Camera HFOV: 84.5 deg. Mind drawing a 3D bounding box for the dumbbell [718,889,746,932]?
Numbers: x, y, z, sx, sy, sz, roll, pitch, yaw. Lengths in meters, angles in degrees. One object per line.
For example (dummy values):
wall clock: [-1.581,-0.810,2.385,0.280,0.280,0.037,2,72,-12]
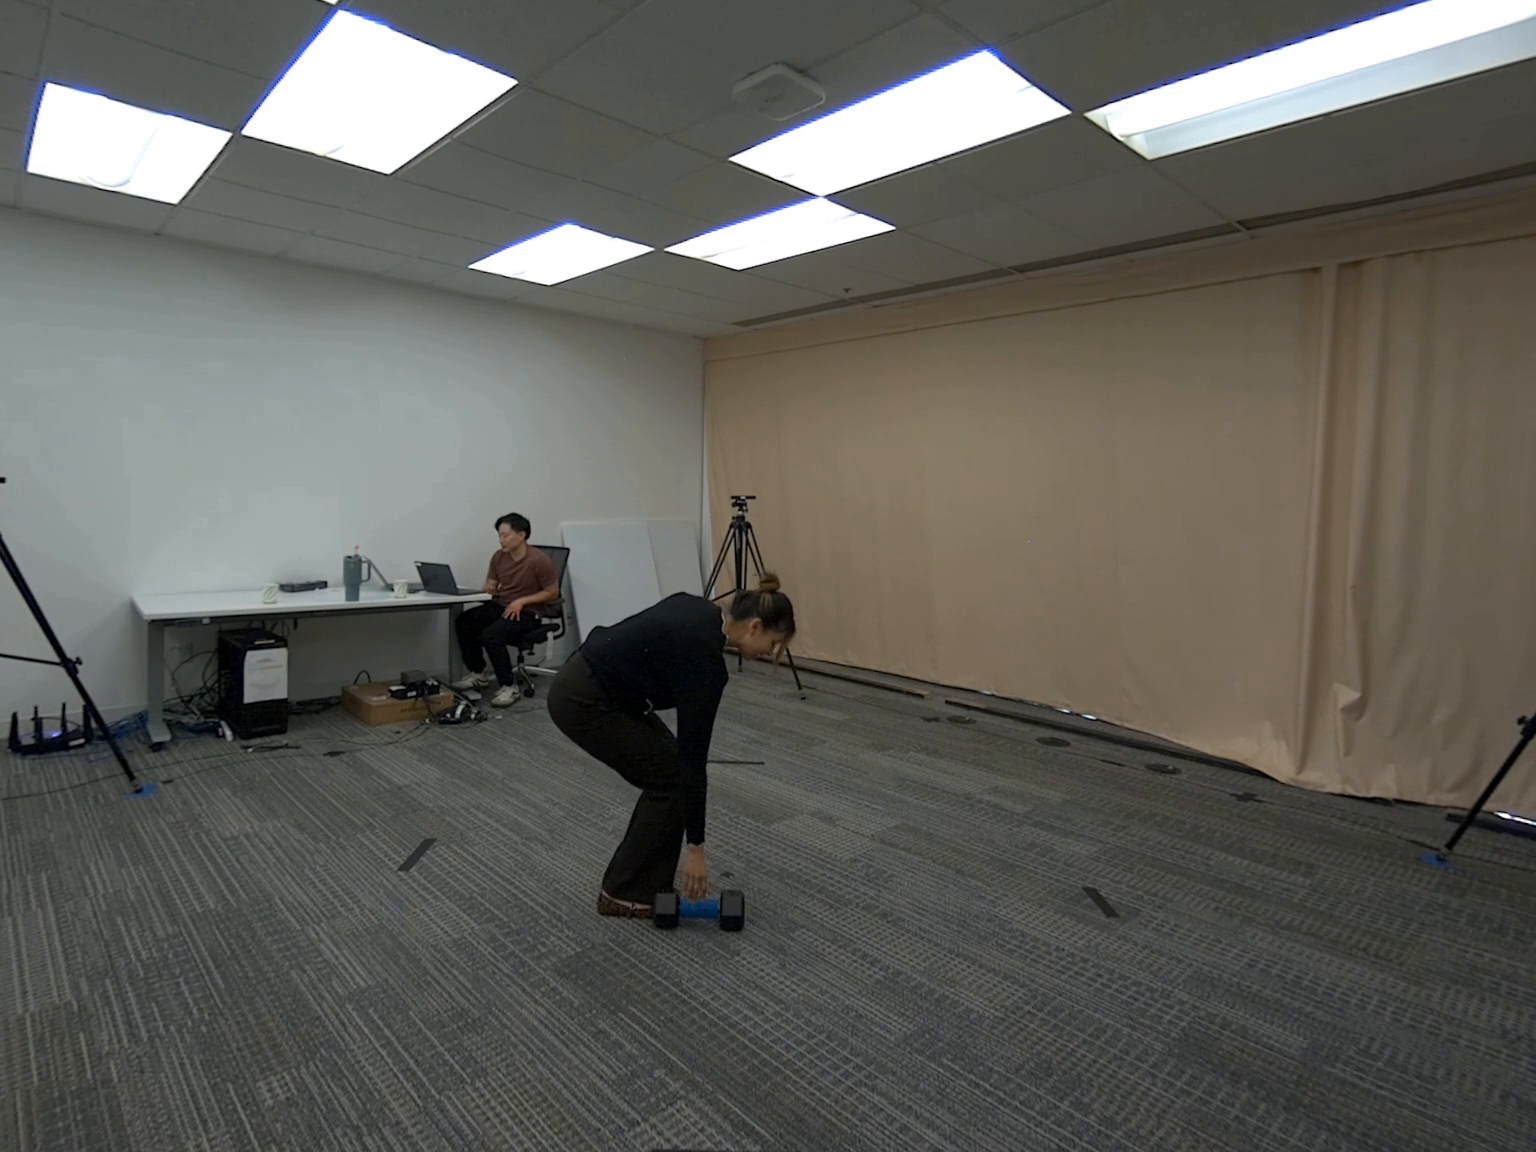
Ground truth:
dumbbell: [-0.226,1.083,2.718,0.294,0.121,0.110,1,28,0]
